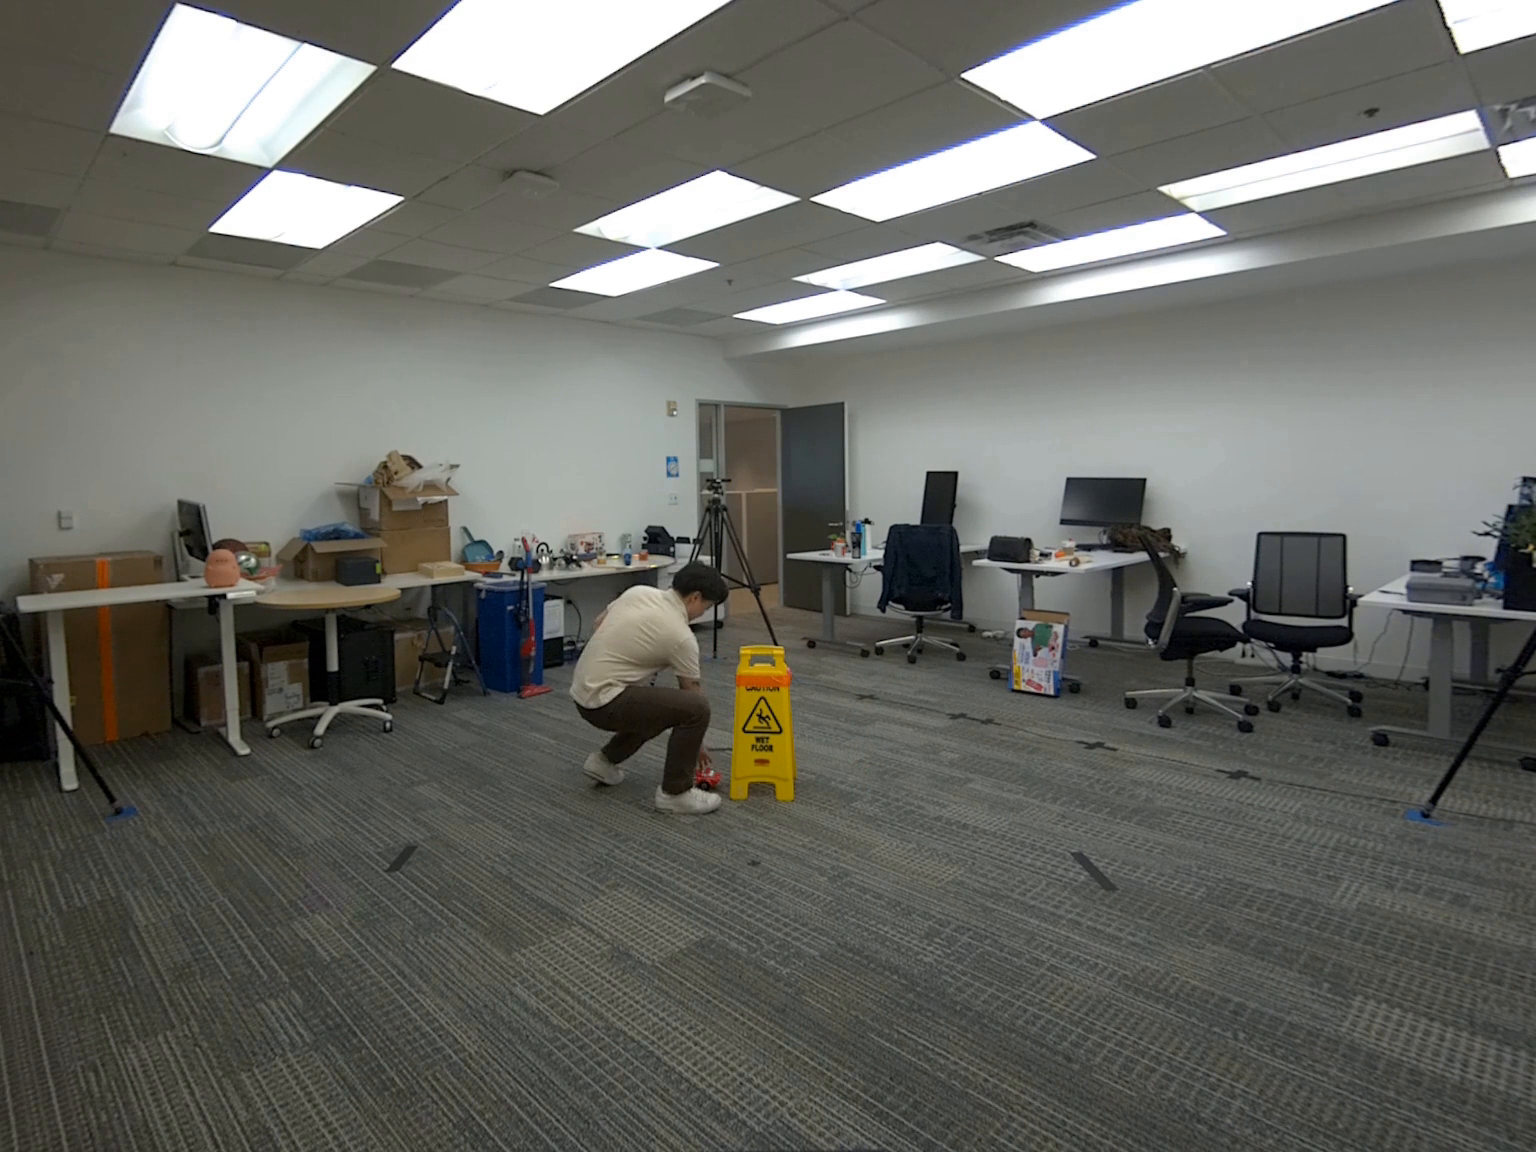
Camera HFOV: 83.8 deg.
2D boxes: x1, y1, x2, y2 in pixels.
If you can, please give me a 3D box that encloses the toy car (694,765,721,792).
[{"bbox_3d":[-0.333,0.925,3.894,0.256,0.083,0.130,-9,4,7],"label":"toy car"}]
